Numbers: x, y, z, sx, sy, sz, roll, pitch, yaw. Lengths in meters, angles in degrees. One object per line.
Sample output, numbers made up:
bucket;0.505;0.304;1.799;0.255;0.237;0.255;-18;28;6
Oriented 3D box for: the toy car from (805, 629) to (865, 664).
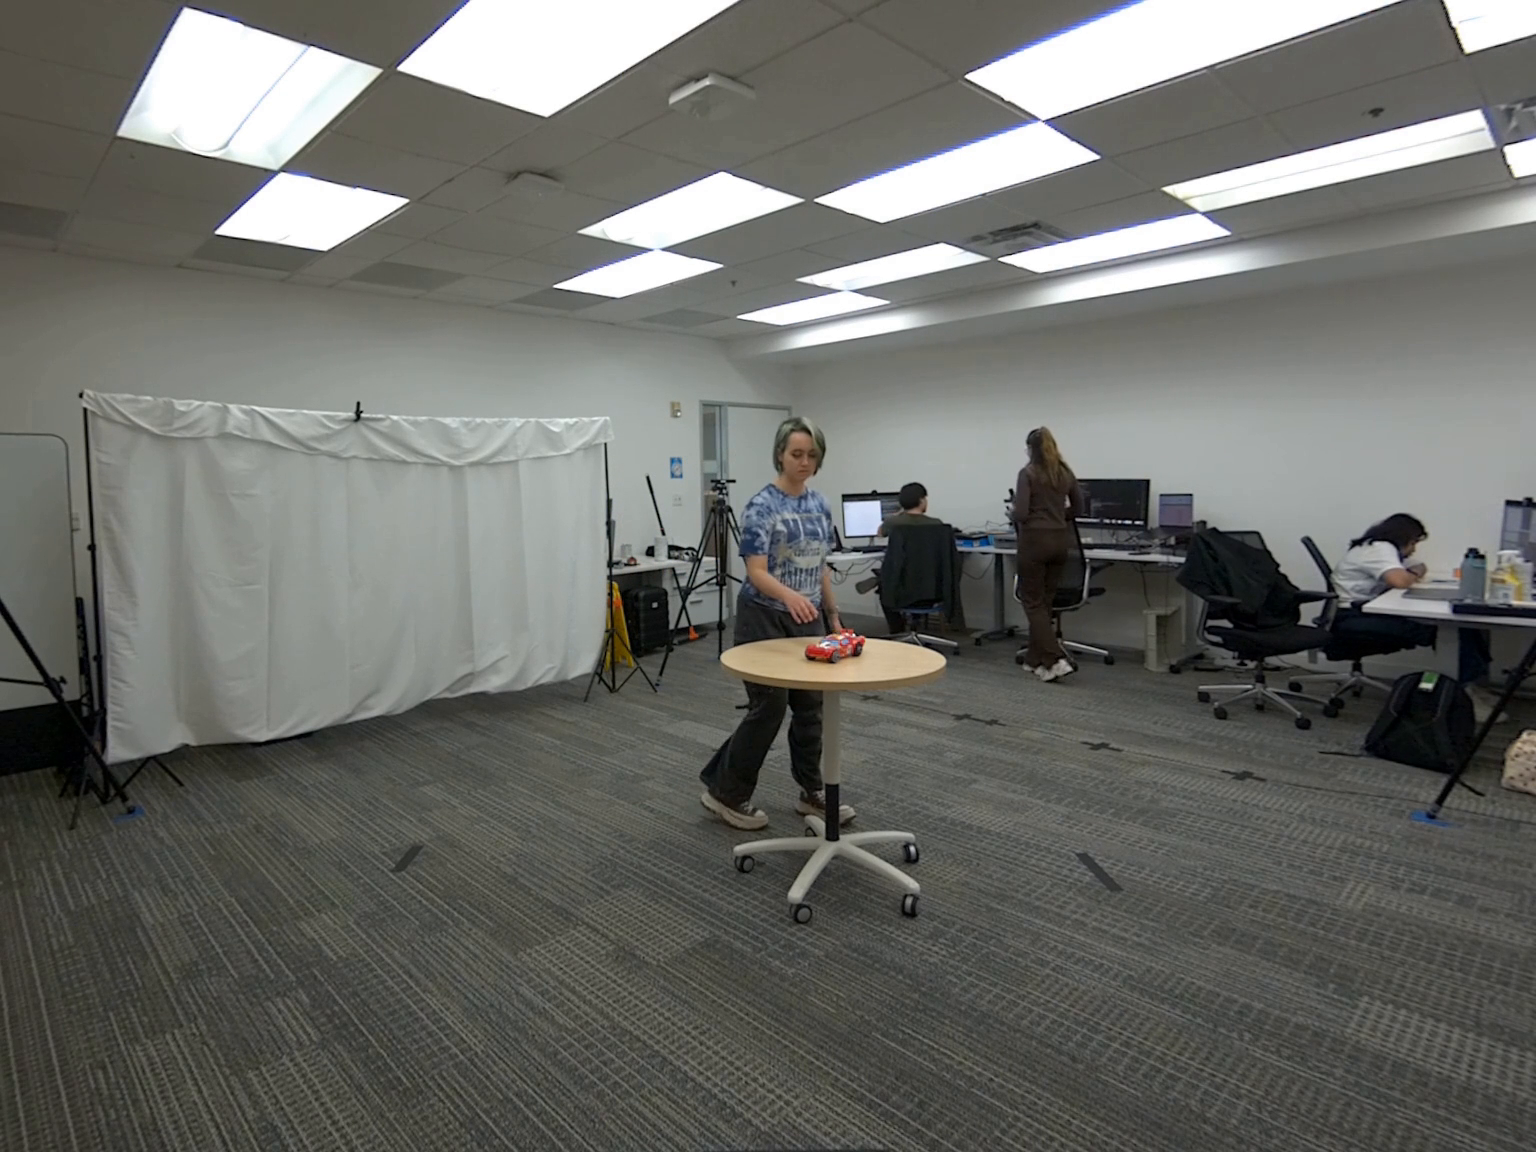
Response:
toy car;0.248;0.249;2.936;0.134;0.082;0.250;4;18;38
